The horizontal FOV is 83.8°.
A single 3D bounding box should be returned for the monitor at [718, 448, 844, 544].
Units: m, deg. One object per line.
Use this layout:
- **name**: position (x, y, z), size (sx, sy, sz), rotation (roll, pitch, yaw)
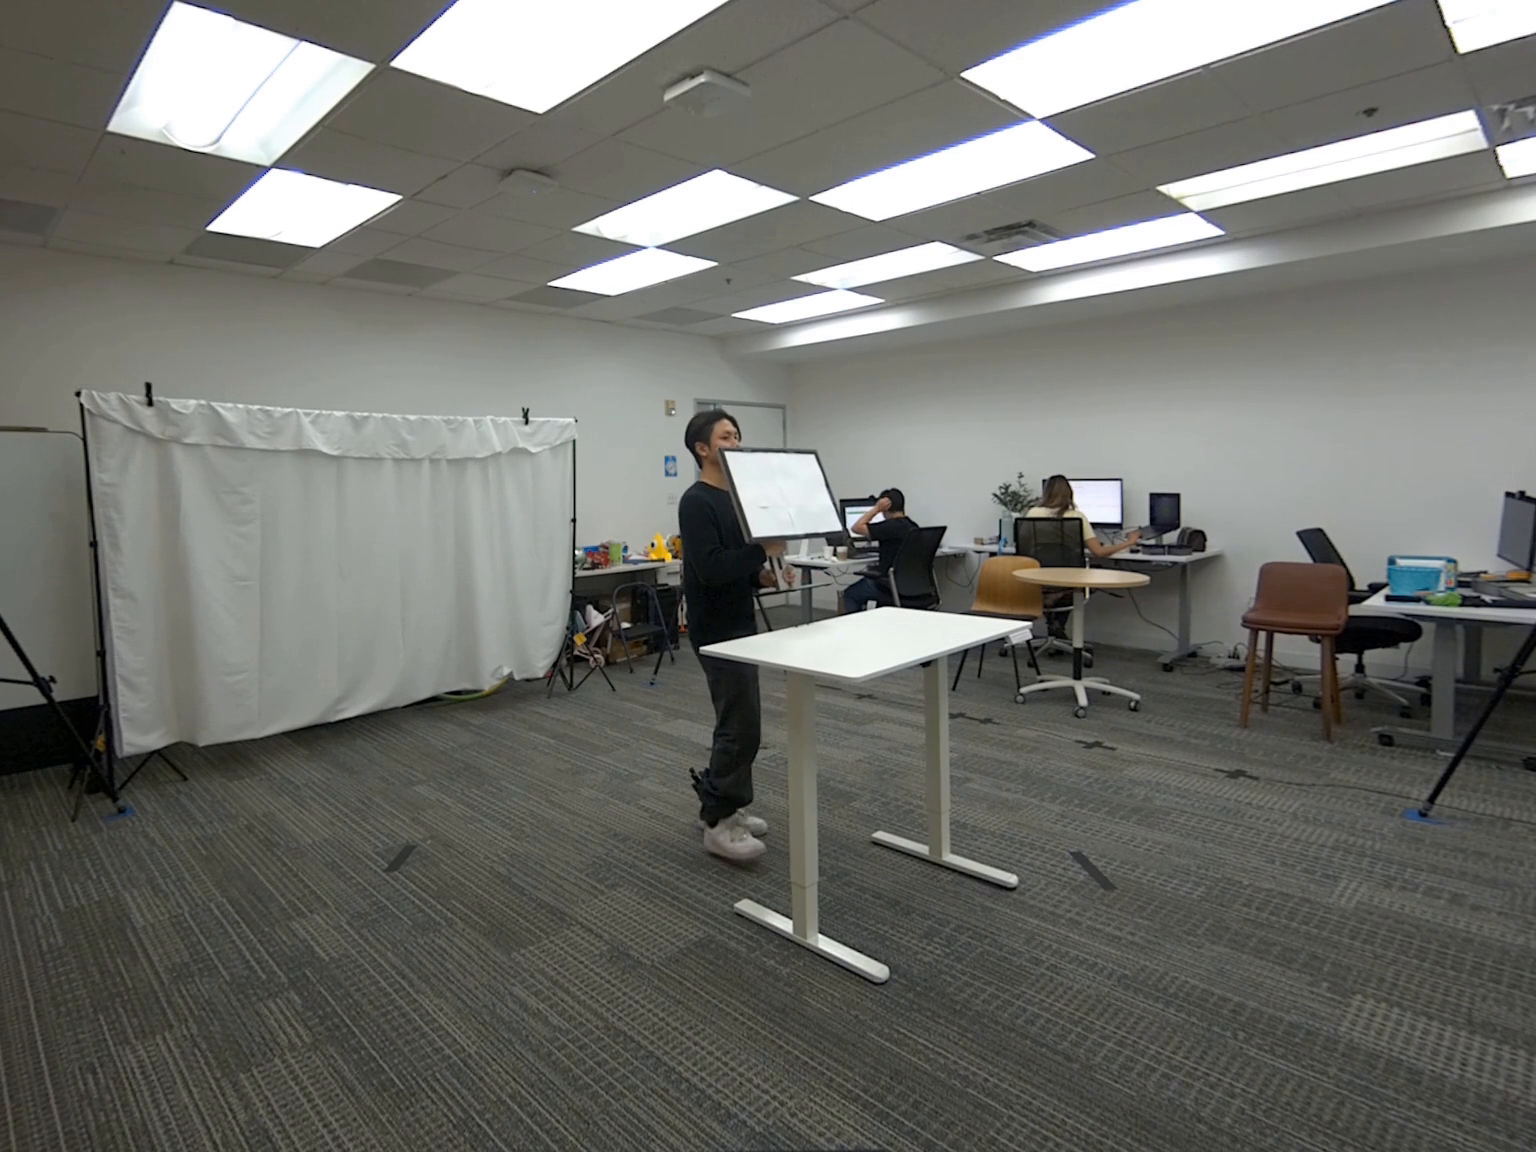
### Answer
- **monitor**: position (0.050, -0.215, 3.174), size (0.179, 0.517, 0.515), rotation (-5, -1, 42)
